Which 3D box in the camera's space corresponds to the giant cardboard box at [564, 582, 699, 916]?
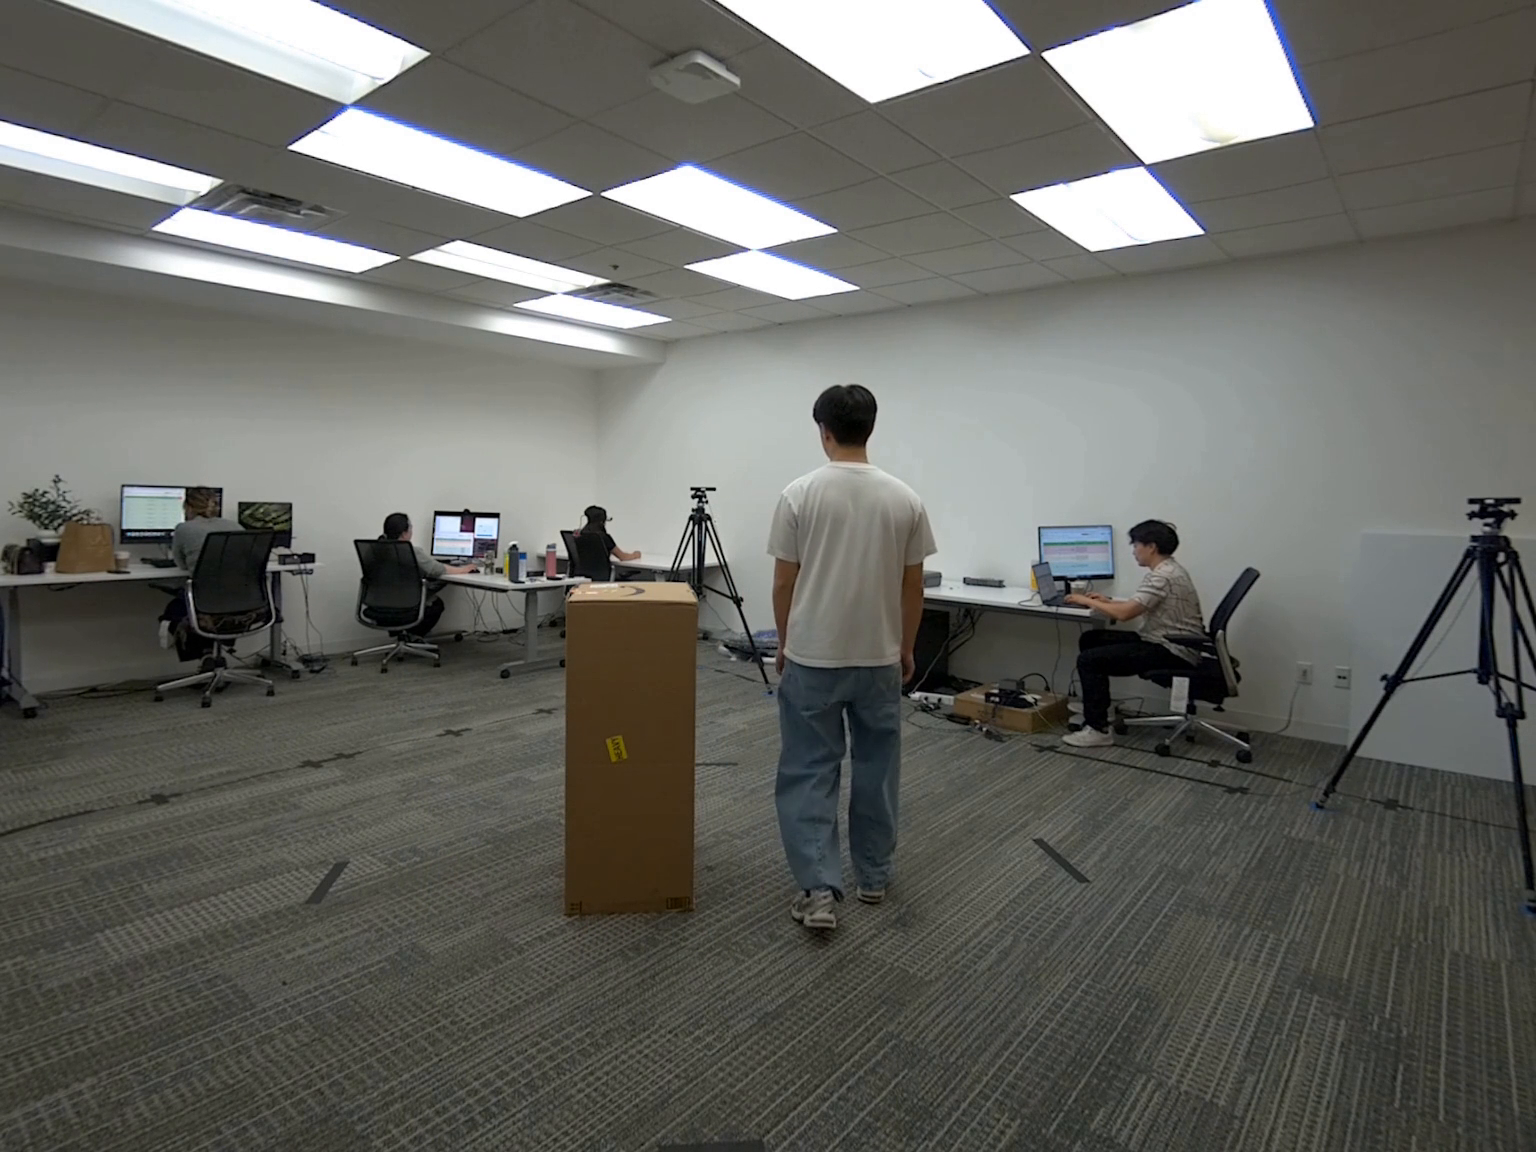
[{"bbox_3d":[-0.498,0.560,3.031,0.423,1.023,0.584,1,3,-8],"label":"giant cardboard box"}]
